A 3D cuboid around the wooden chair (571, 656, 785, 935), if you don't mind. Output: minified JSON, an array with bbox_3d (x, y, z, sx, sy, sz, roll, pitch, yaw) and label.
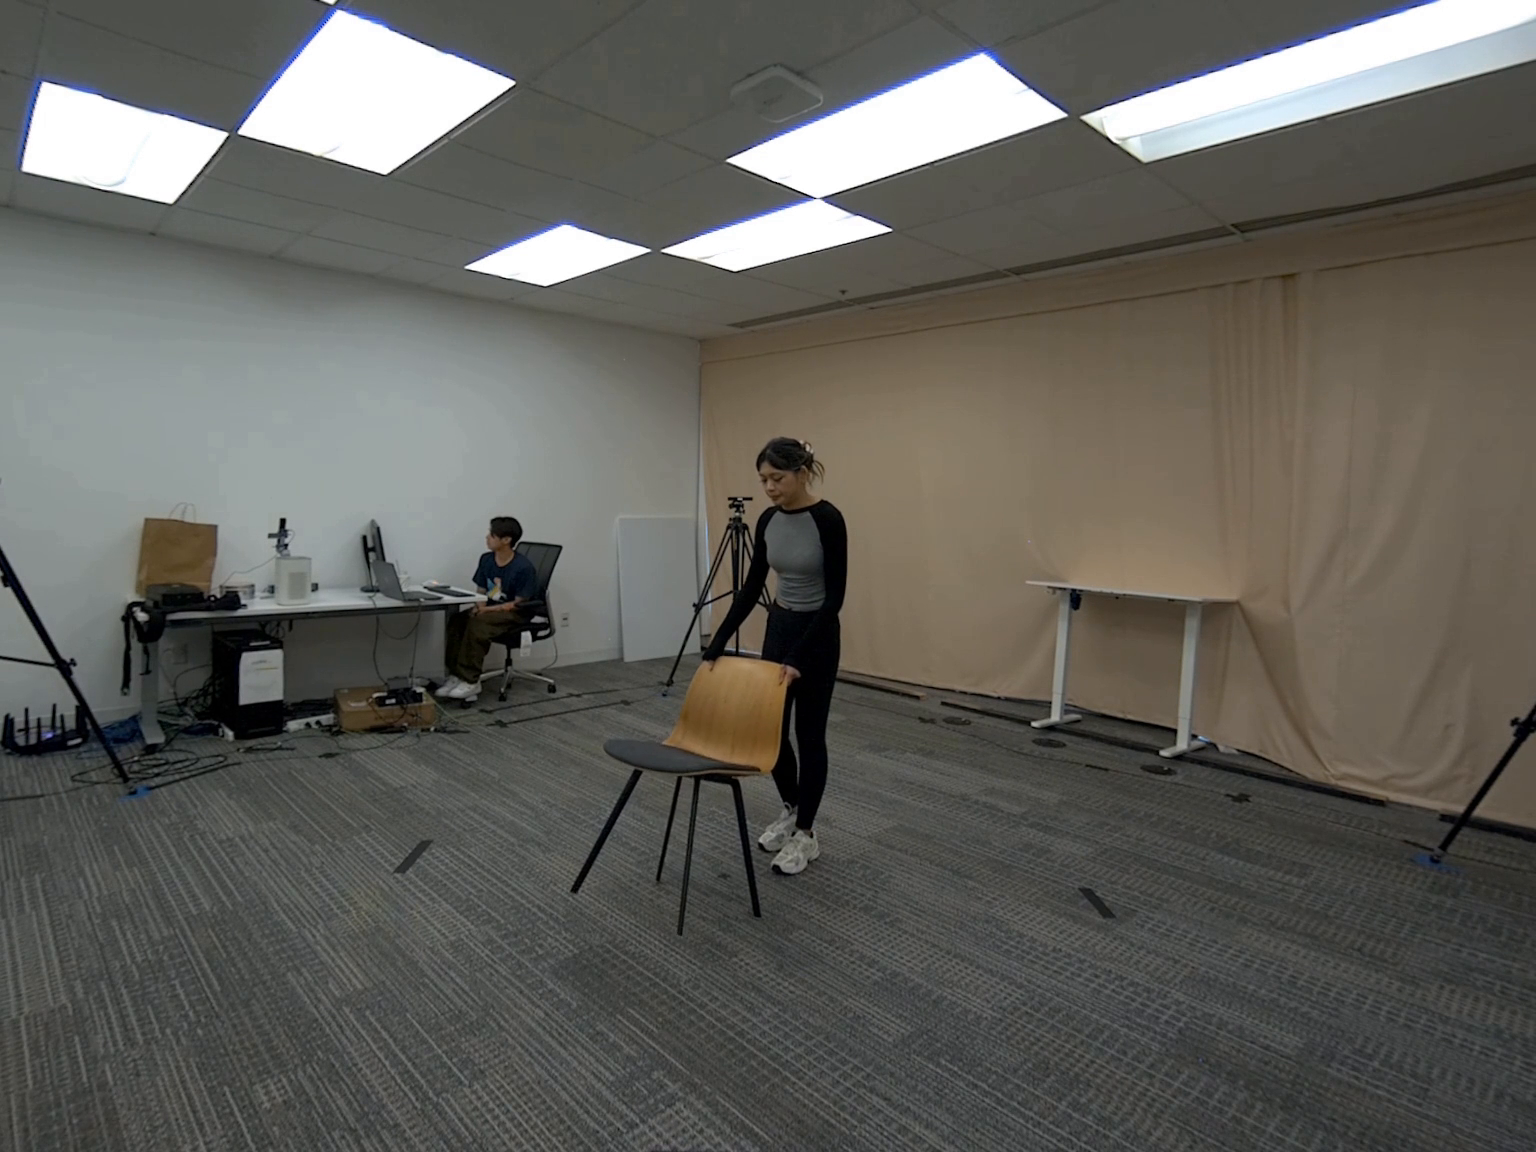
[{"bbox_3d":[-0.265,0.663,2.798,0.489,0.883,0.507,4,-15,34],"label":"wooden chair"}]
